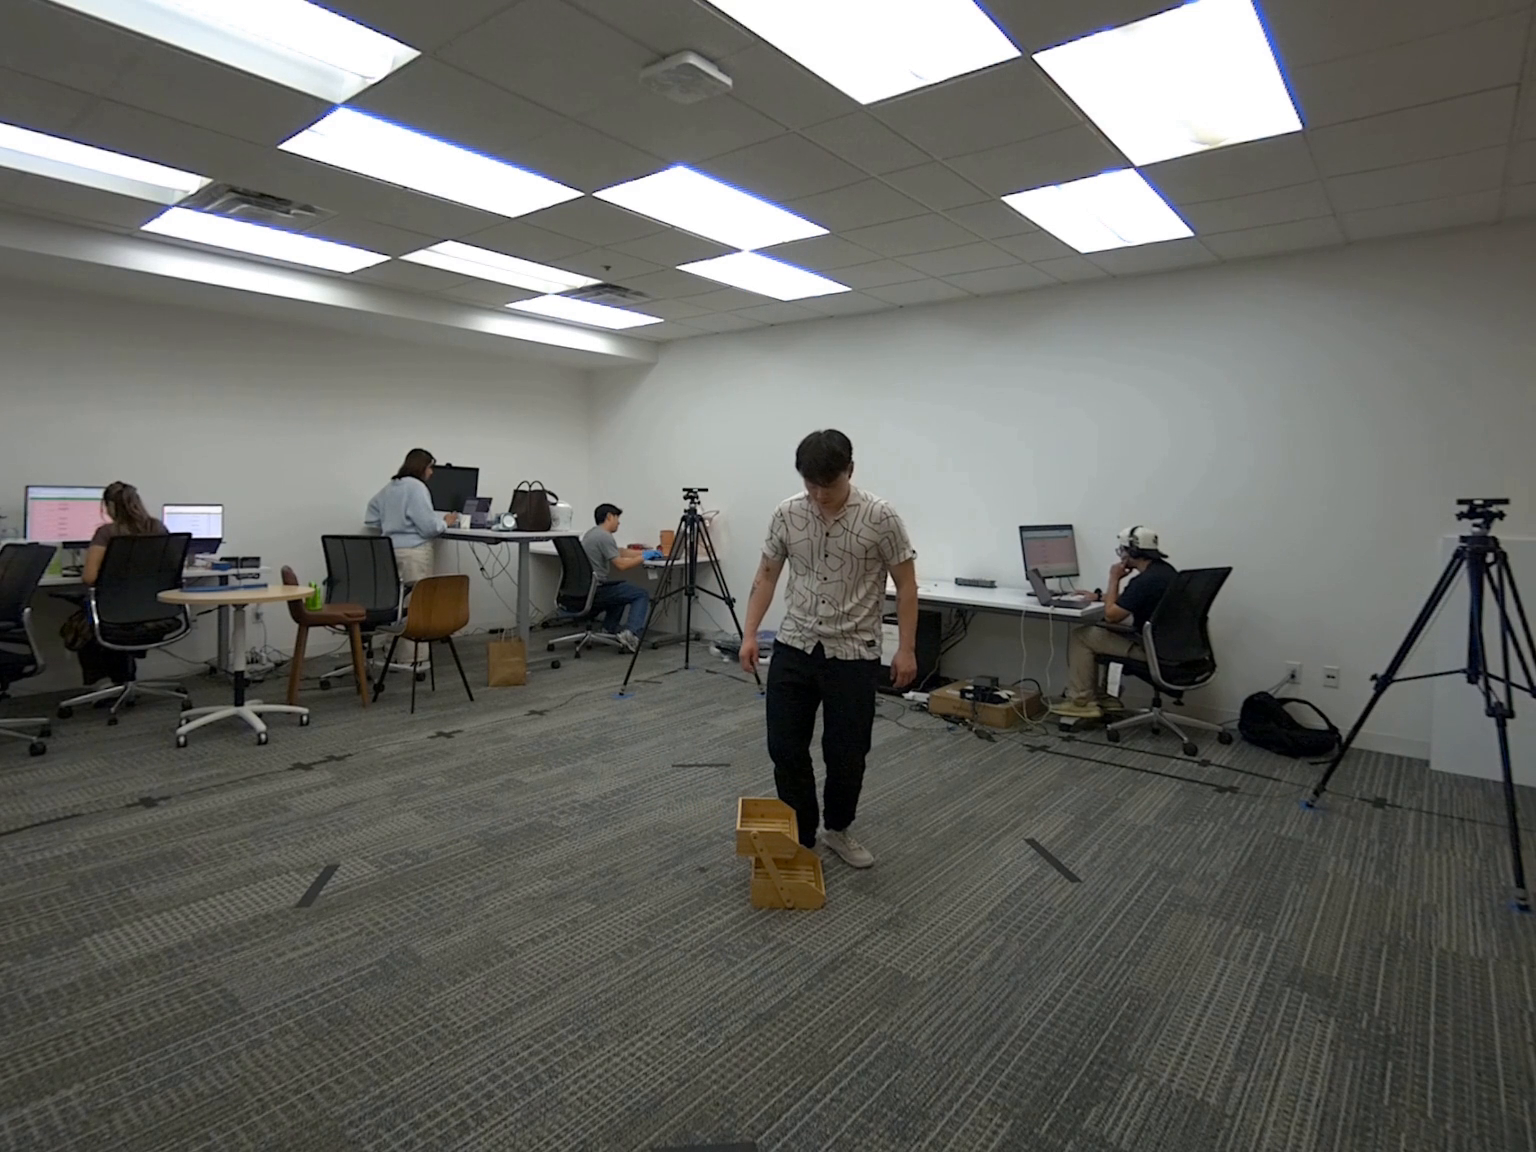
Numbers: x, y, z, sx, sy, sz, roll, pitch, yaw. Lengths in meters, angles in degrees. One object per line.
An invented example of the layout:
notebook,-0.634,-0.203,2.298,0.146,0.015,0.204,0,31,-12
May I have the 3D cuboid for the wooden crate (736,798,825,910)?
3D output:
wooden crate,0.044,0.958,2.974,0.303,0.272,0.325,1,4,1
